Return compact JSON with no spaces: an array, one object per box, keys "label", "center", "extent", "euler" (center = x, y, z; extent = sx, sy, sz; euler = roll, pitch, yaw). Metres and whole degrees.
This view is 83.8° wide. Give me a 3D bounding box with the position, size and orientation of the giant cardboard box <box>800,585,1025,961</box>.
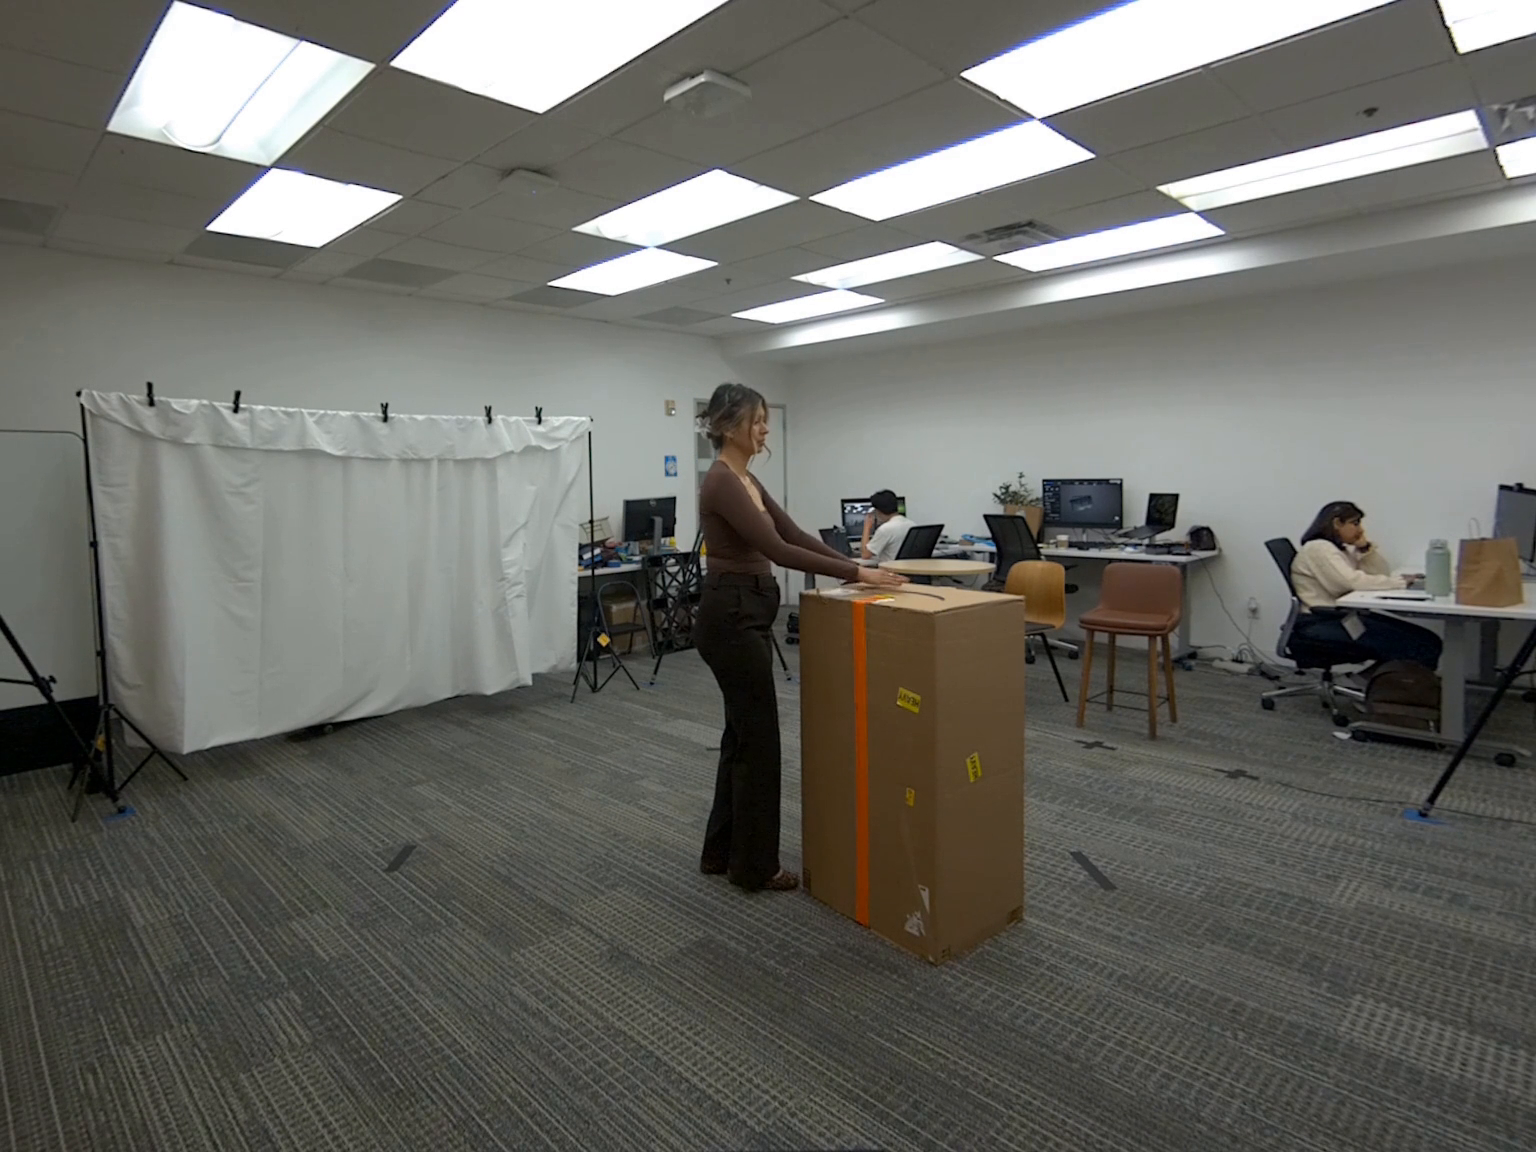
[{"label":"giant cardboard box","center":[0.455,0.564,2.743],"extent":[0.435,1.023,0.601],"euler":[-5,5,-36]}]
